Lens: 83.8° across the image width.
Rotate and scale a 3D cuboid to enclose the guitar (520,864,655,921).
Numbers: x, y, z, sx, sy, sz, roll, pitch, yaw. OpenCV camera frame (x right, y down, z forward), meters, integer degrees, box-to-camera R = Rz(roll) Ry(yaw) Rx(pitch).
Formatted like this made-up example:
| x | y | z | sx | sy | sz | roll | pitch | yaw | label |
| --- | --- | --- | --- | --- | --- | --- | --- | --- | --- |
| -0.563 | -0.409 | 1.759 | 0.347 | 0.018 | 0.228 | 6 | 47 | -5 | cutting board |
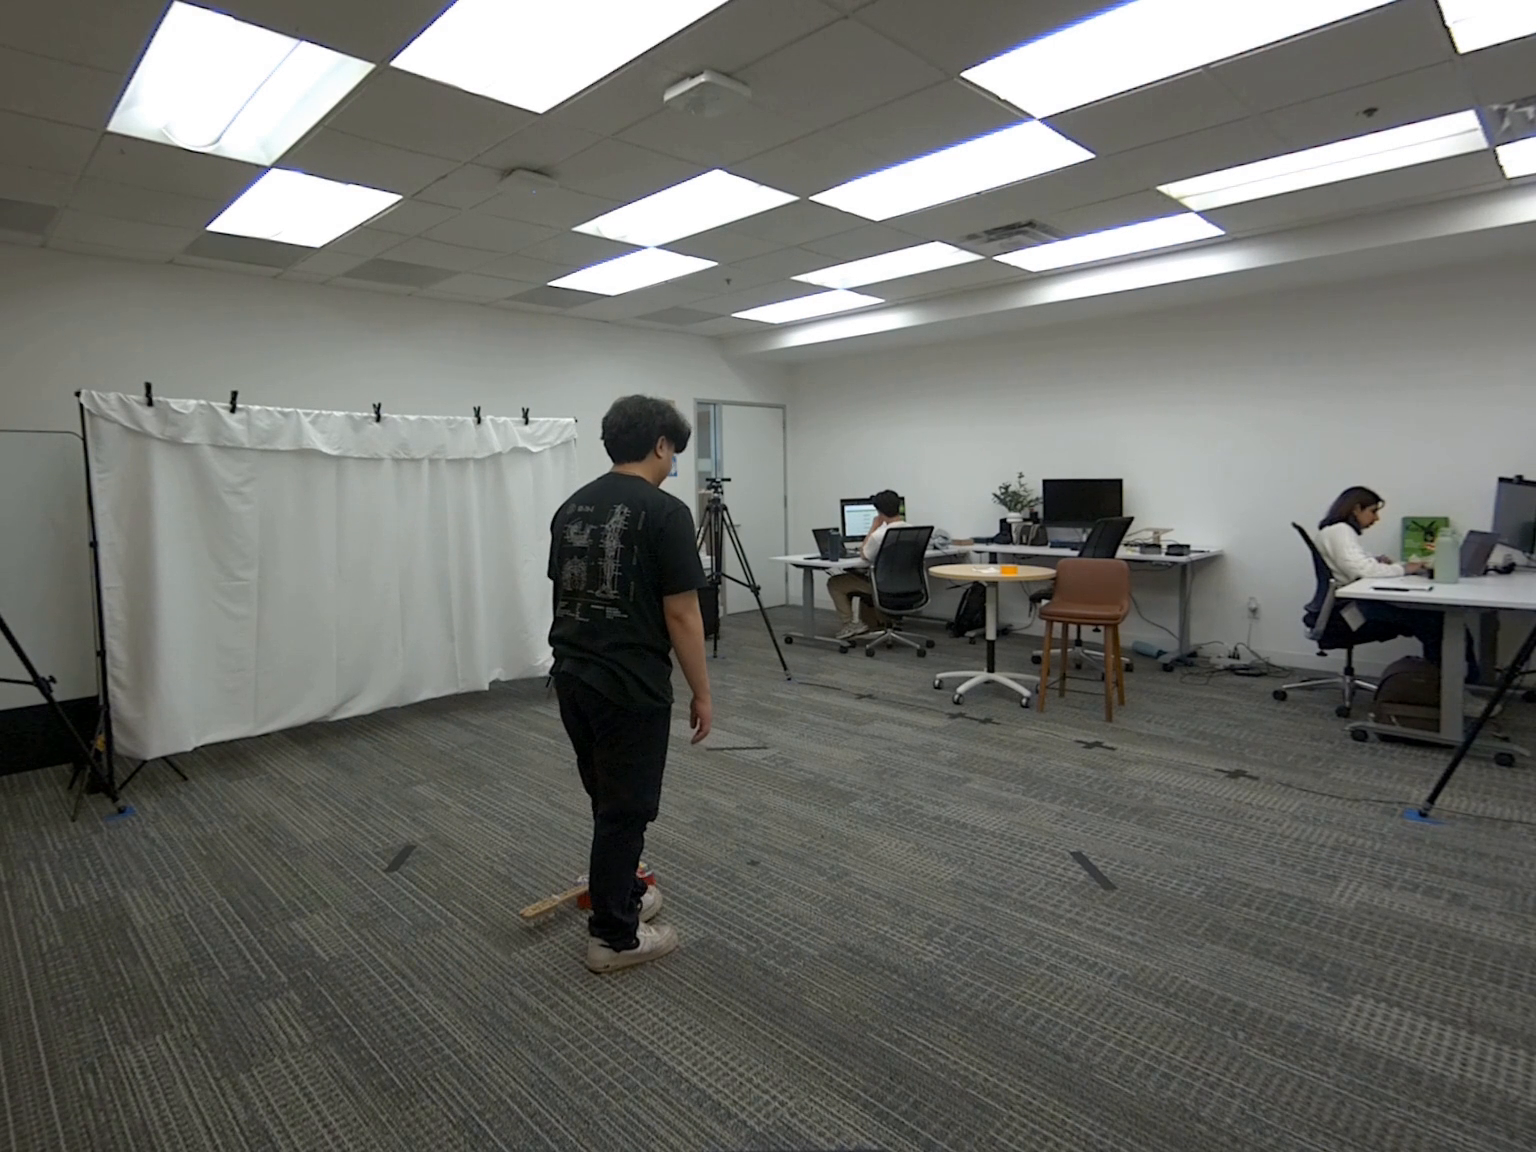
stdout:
| x | y | z | sx | sy | sz | roll | pitch | yaw | label |
| --- | --- | --- | --- | --- | --- | --- | --- | --- | --- |
| -0.616 | 1.051 | 2.848 | 0.485 | 0.070 | 0.199 | -7 | 9 | -39 | guitar |
